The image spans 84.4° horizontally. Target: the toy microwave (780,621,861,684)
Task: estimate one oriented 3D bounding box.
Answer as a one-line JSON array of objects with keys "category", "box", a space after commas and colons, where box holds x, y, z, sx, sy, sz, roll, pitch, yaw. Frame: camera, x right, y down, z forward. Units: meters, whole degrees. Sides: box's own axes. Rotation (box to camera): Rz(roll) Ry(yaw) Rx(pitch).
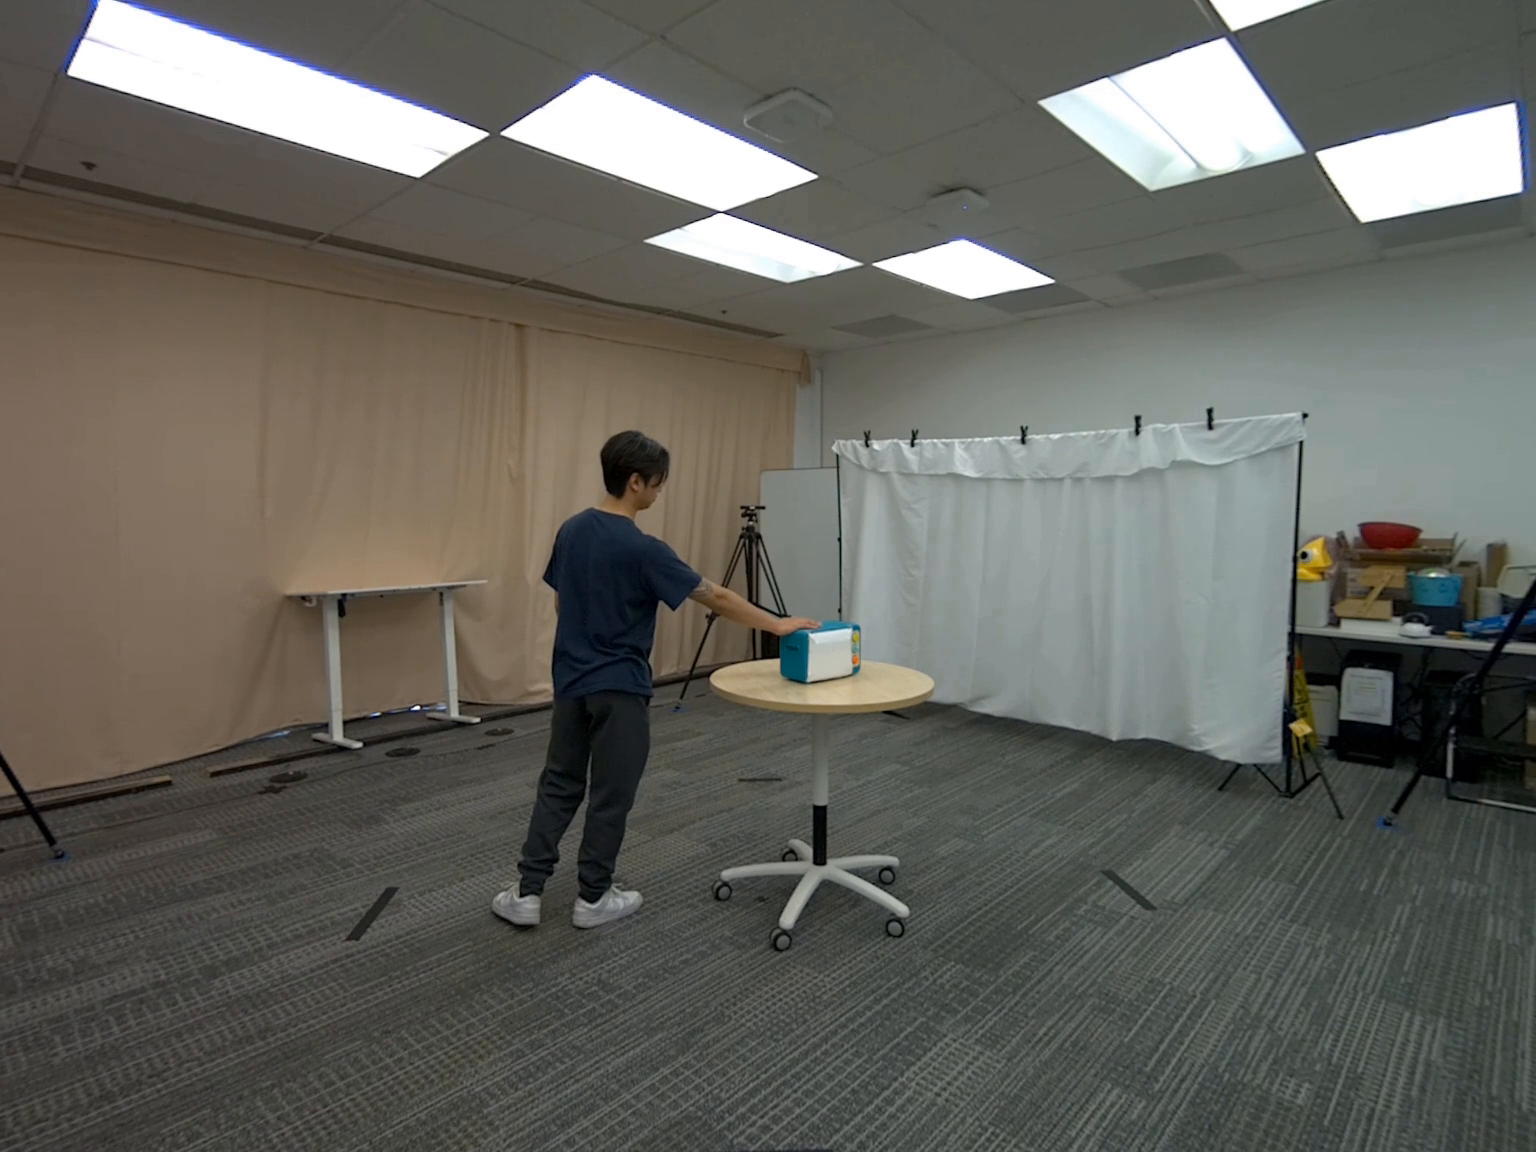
[{"category": "toy microwave", "box": [0.198, 0.263, 2.917, 0.278, 0.183, 0.157, -4, 6, -38]}]
